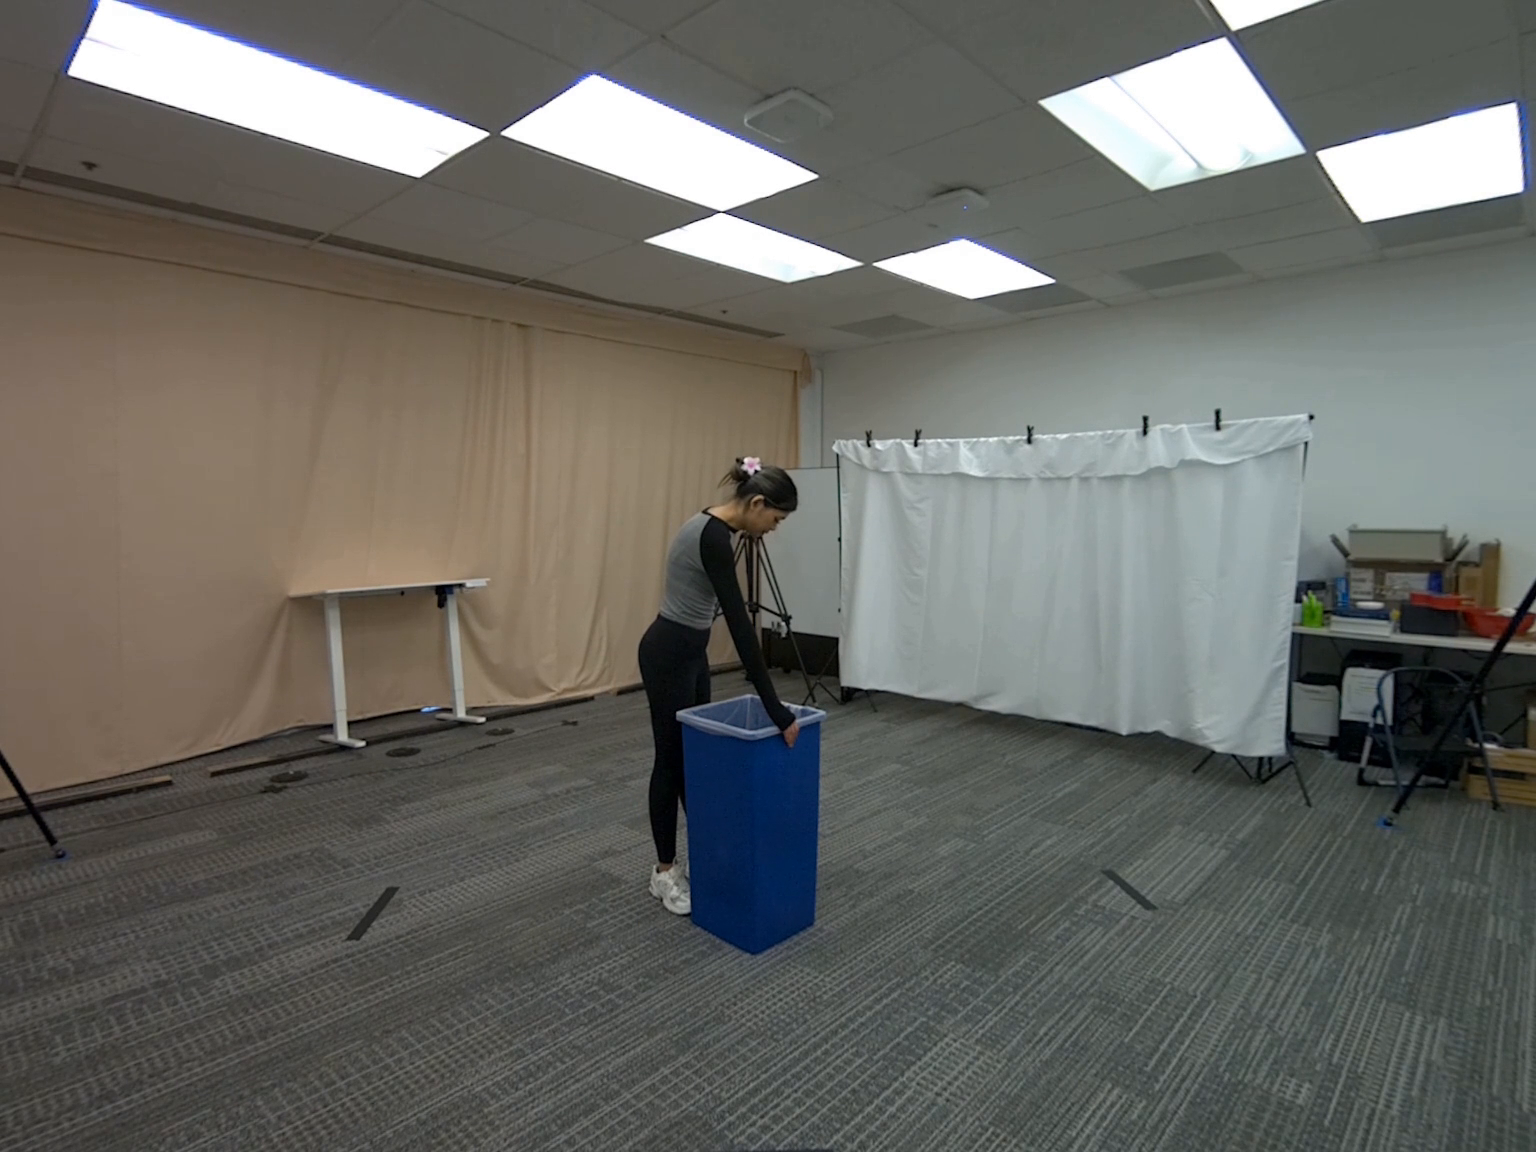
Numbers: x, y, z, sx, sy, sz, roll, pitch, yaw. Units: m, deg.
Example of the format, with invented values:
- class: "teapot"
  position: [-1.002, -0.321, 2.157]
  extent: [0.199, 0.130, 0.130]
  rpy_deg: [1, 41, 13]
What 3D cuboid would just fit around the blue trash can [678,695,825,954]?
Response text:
- class: "blue trash can"
  position: [-0.050, 0.805, 2.783]
  extent: [0.391, 0.712, 0.362]
  rpy_deg: [3, 4, 44]
